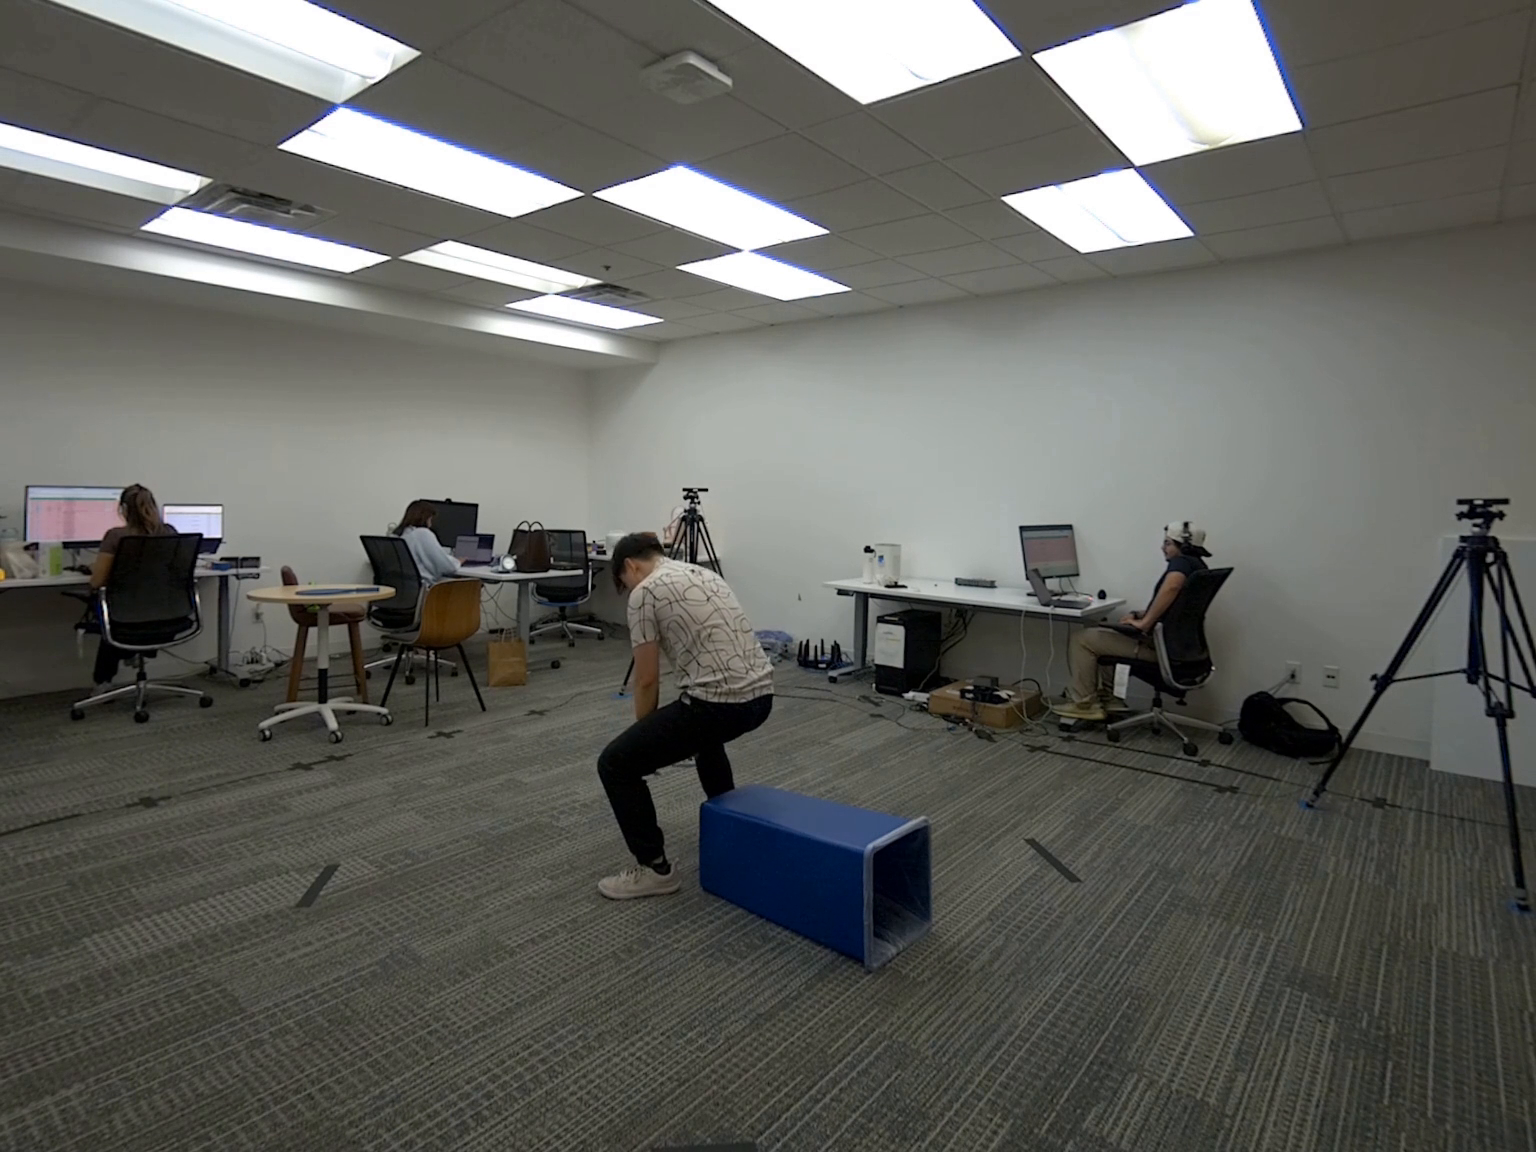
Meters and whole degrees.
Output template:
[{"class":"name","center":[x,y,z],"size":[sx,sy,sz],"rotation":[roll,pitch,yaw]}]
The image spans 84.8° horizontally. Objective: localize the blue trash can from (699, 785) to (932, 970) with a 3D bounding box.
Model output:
[{"class":"blue trash can","center":[0.122,0.931,2.821],"size":[0.737,0.377,0.363],"rotation":[3,5,42]}]
